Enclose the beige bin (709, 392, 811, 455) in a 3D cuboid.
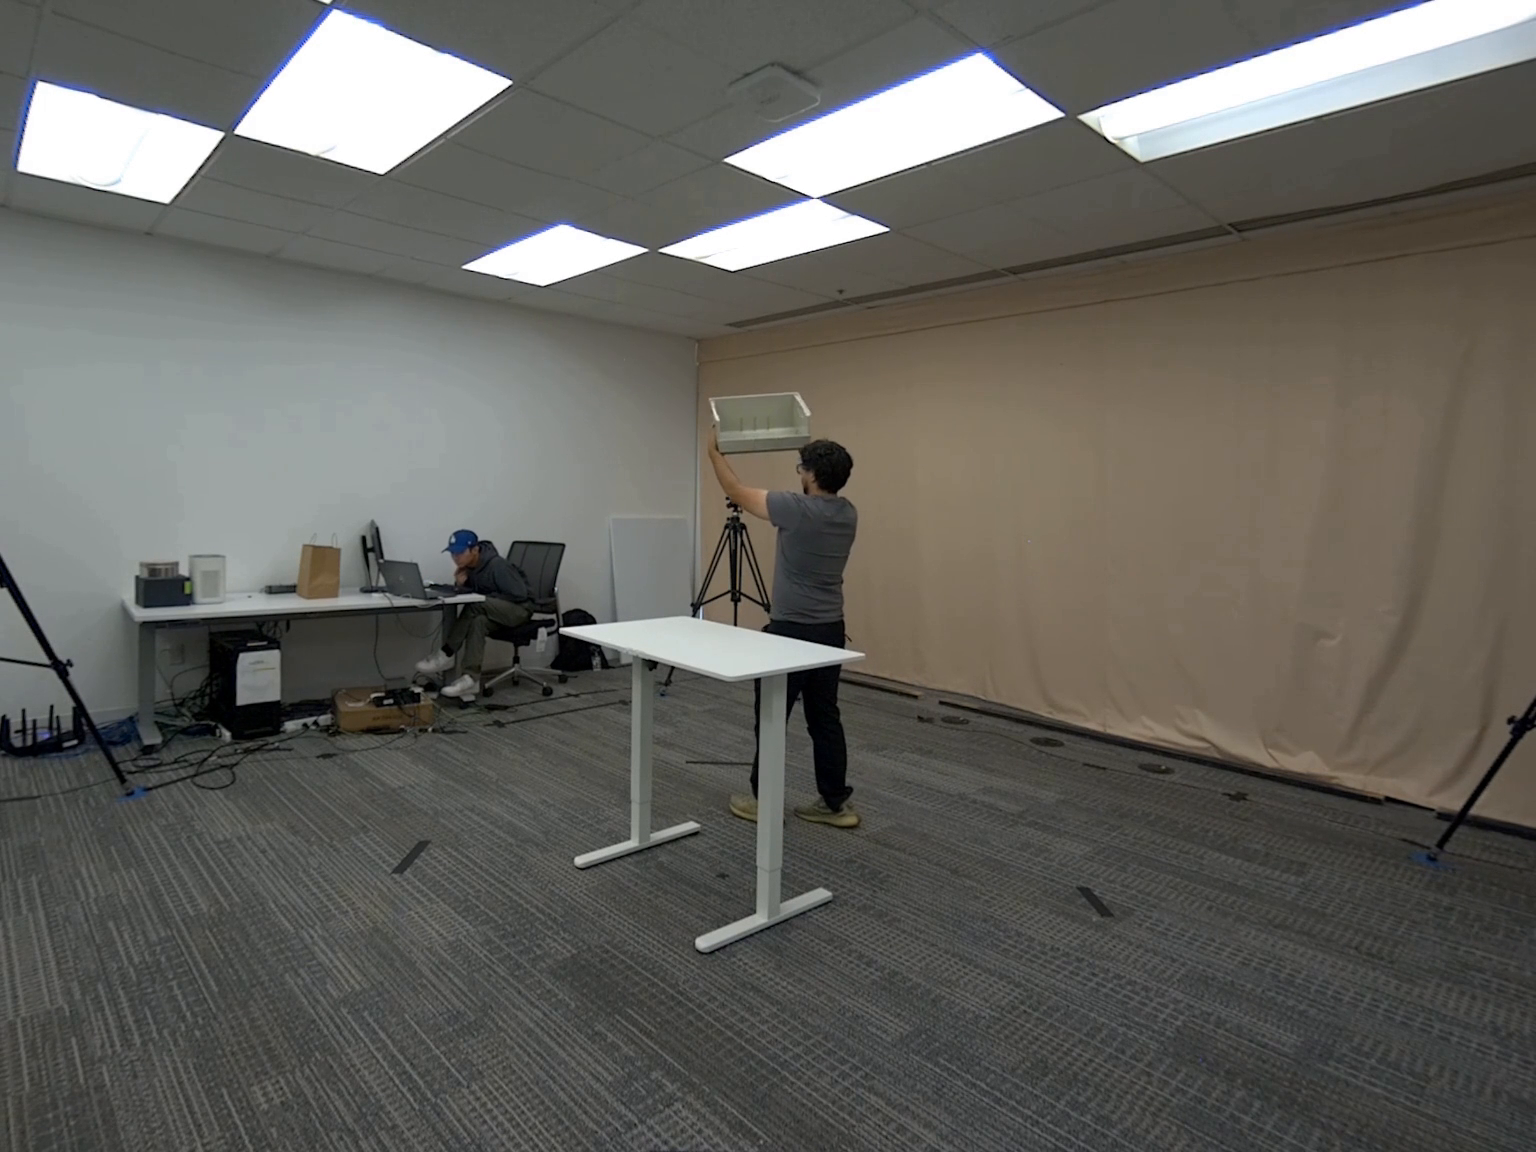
[{"bbox_3d":[-0.044,-0.690,3.841,0.420,0.185,0.386,-6,27,-7],"label":"beige bin"}]
